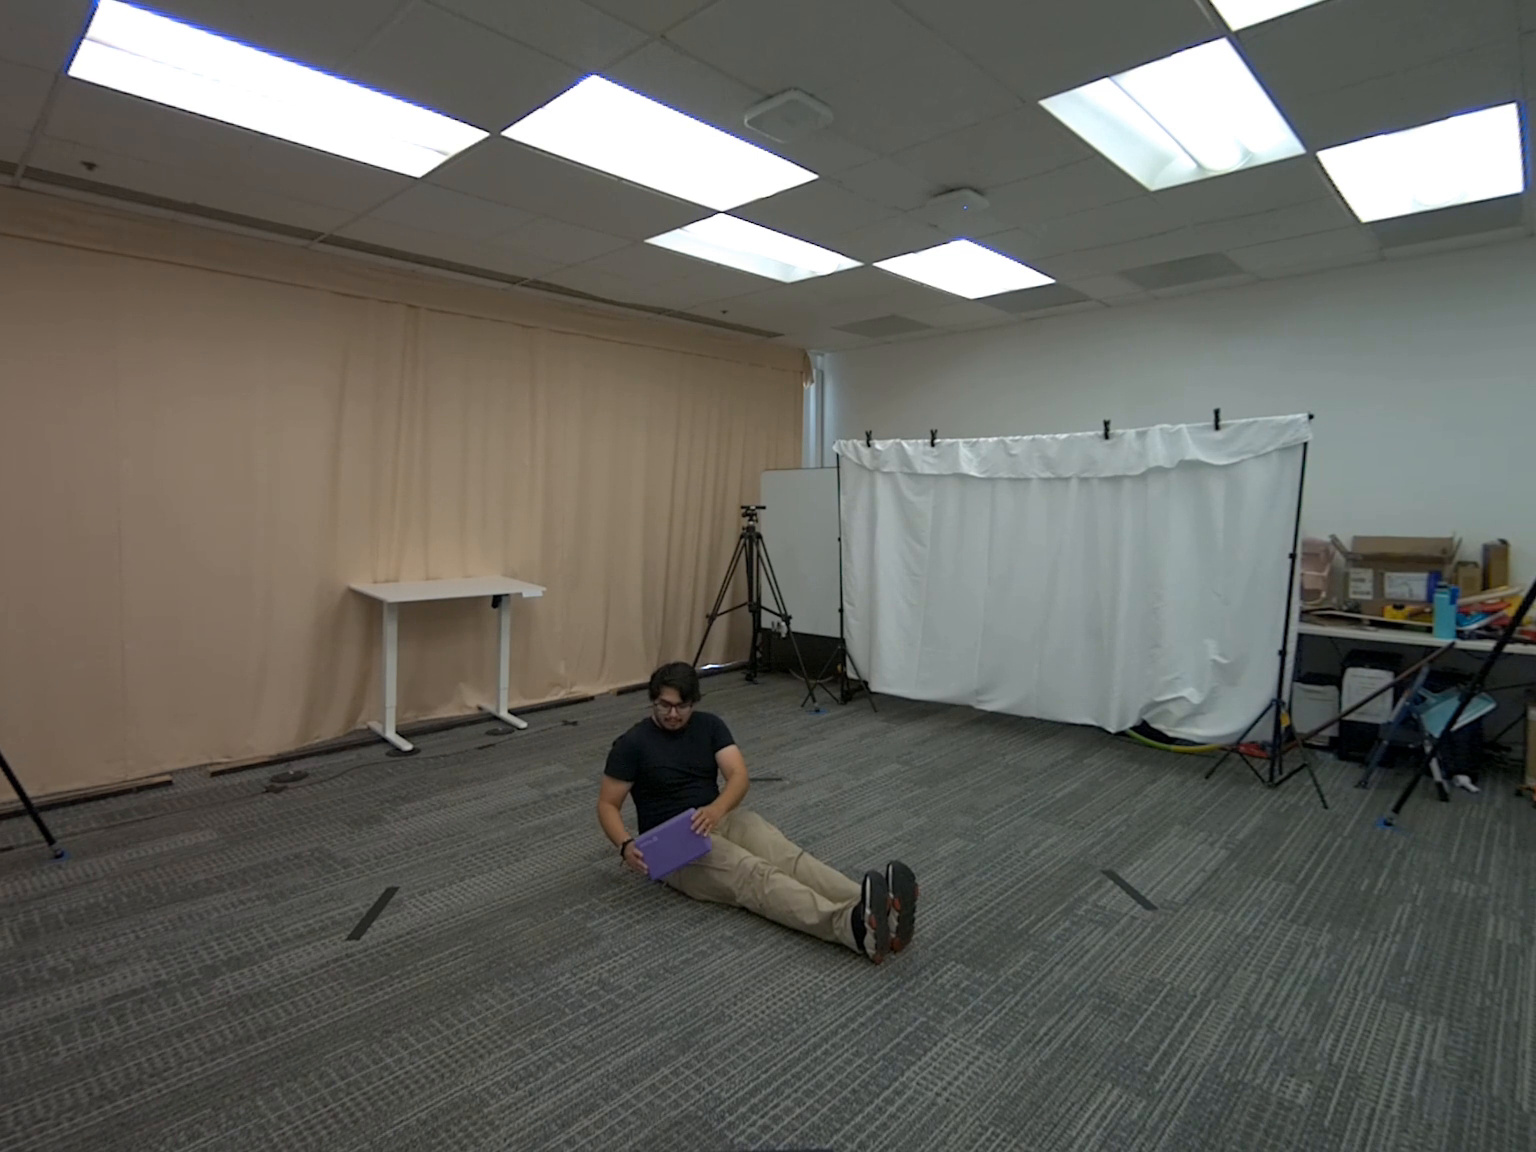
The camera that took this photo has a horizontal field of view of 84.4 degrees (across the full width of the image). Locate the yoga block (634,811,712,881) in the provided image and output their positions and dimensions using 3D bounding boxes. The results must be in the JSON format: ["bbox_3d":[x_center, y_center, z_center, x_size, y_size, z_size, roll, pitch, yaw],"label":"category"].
[{"bbox_3d":[-0.322,0.913,2.878,0.229,0.150,0.076,-29,-8,1],"label":"yoga block"}]
